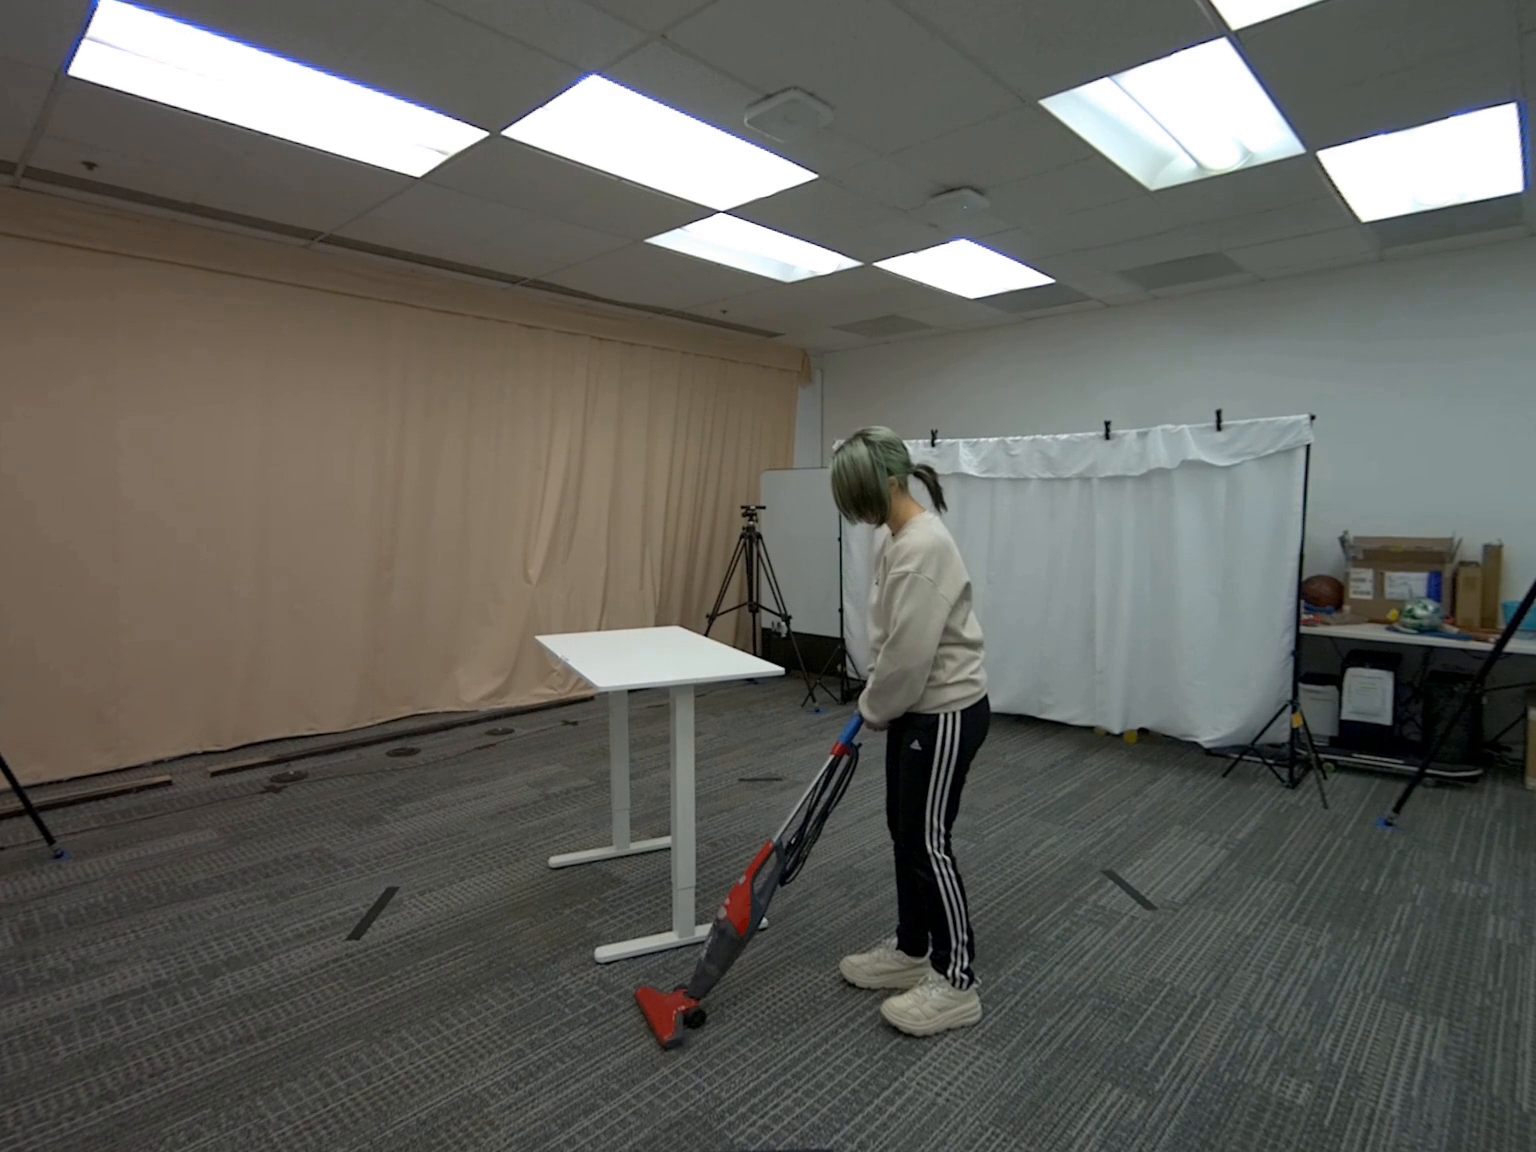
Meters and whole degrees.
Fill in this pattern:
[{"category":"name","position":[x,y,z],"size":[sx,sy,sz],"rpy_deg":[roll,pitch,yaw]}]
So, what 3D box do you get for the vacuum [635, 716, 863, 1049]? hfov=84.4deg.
[{"category":"vacuum","position":[0.047,0.799,2.387],"size":[0.140,1.046,0.261],"rpy_deg":[47,-15,-29]}]
